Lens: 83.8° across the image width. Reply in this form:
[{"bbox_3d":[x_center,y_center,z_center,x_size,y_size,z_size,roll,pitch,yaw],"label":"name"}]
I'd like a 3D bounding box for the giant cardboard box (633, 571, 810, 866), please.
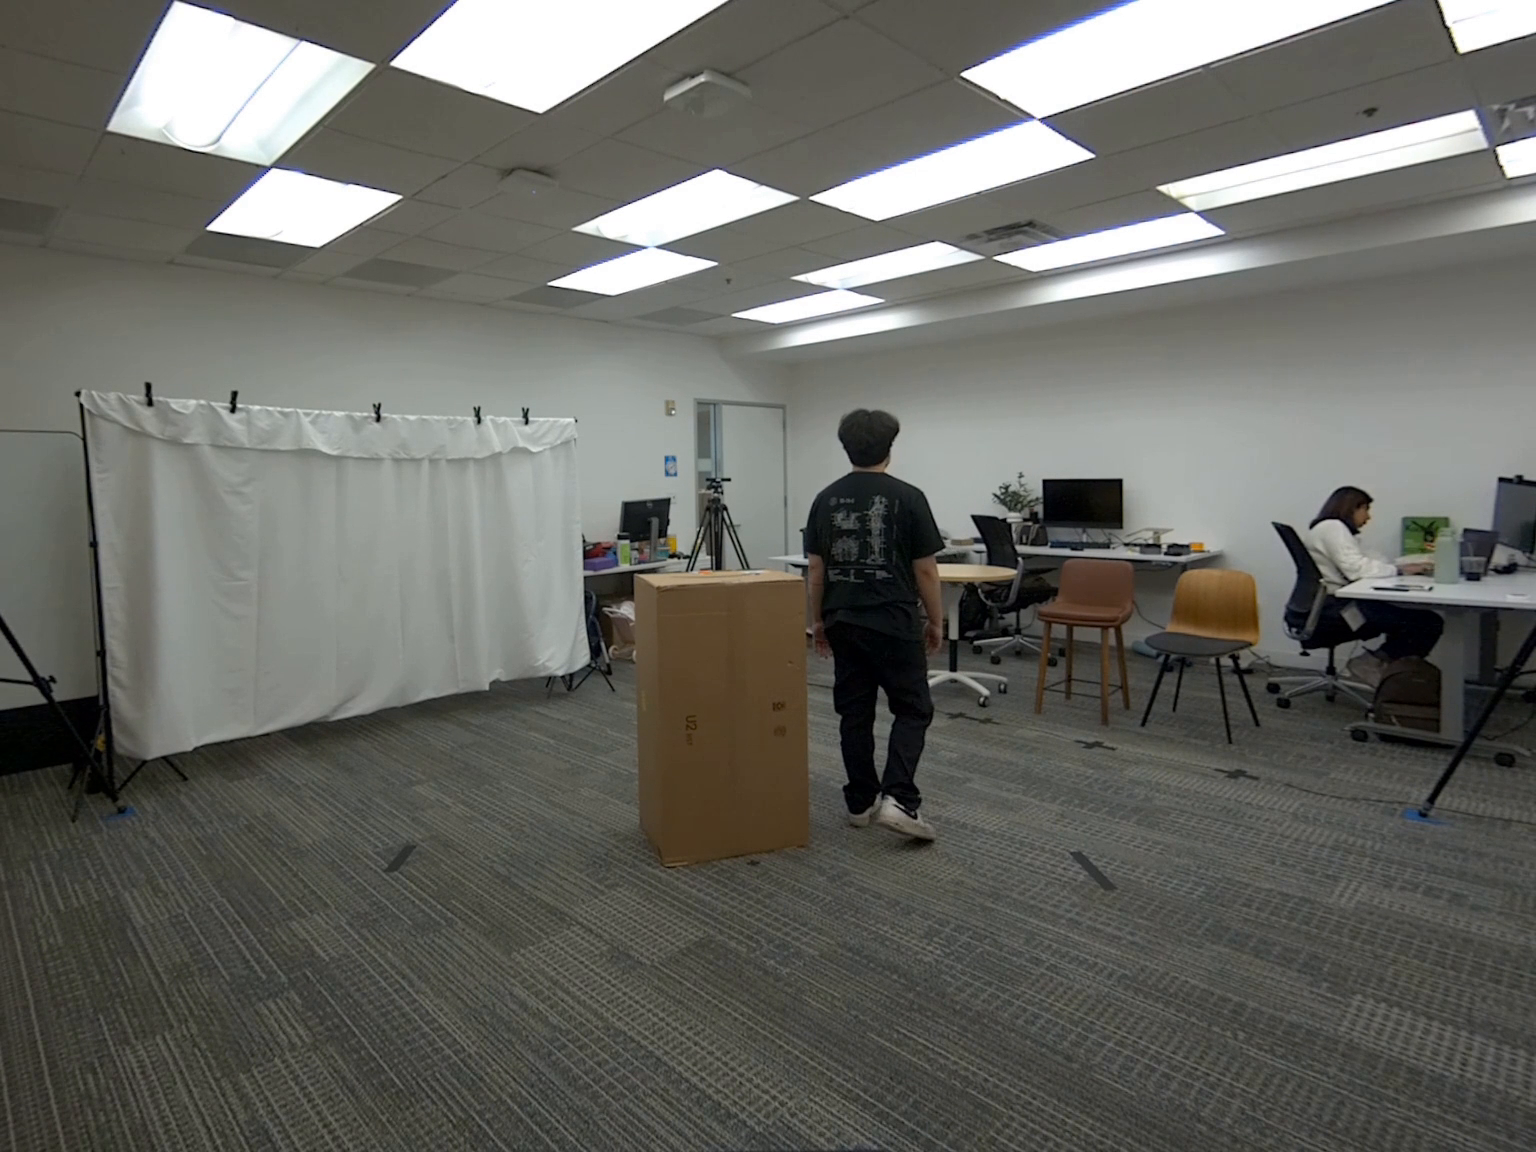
[{"bbox_3d":[-0.190,0.507,3.329,0.575,1.024,0.455,-2,3,-18],"label":"giant cardboard box"}]
